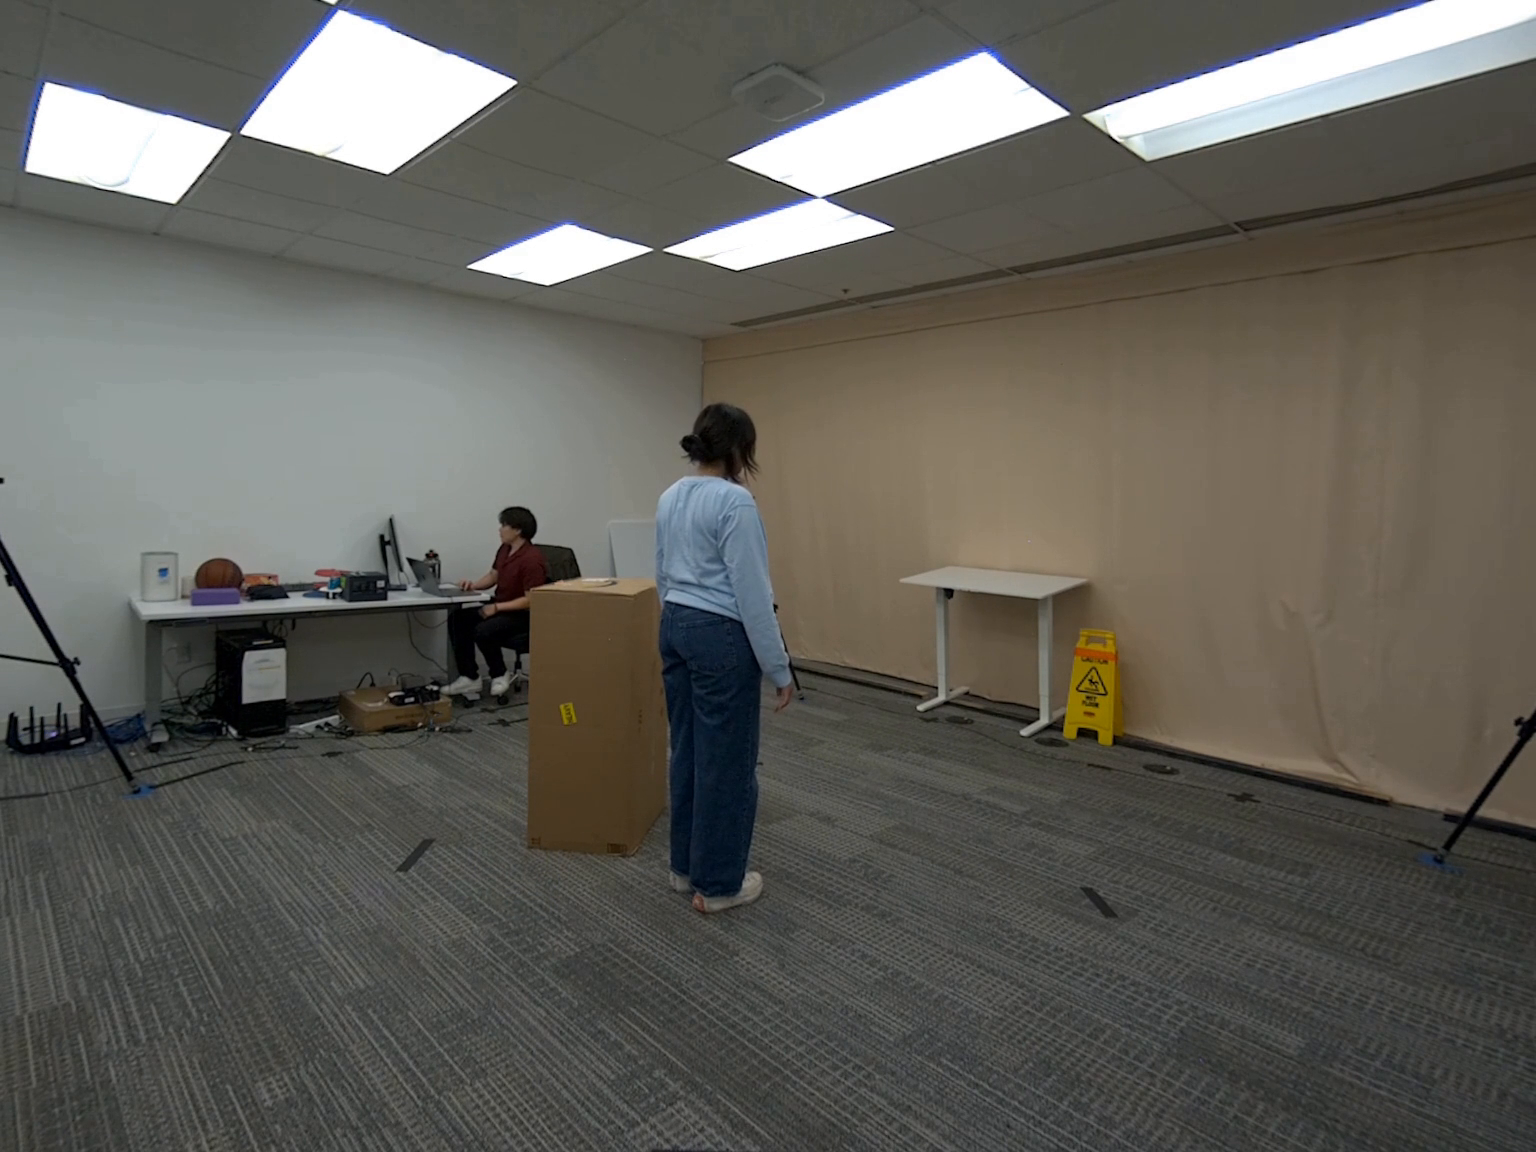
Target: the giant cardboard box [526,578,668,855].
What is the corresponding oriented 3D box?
[{"bbox_3d":[-0.705,0.545,3.532,0.429,1.023,0.574,2,3,8],"label":"giant cardboard box"}]
